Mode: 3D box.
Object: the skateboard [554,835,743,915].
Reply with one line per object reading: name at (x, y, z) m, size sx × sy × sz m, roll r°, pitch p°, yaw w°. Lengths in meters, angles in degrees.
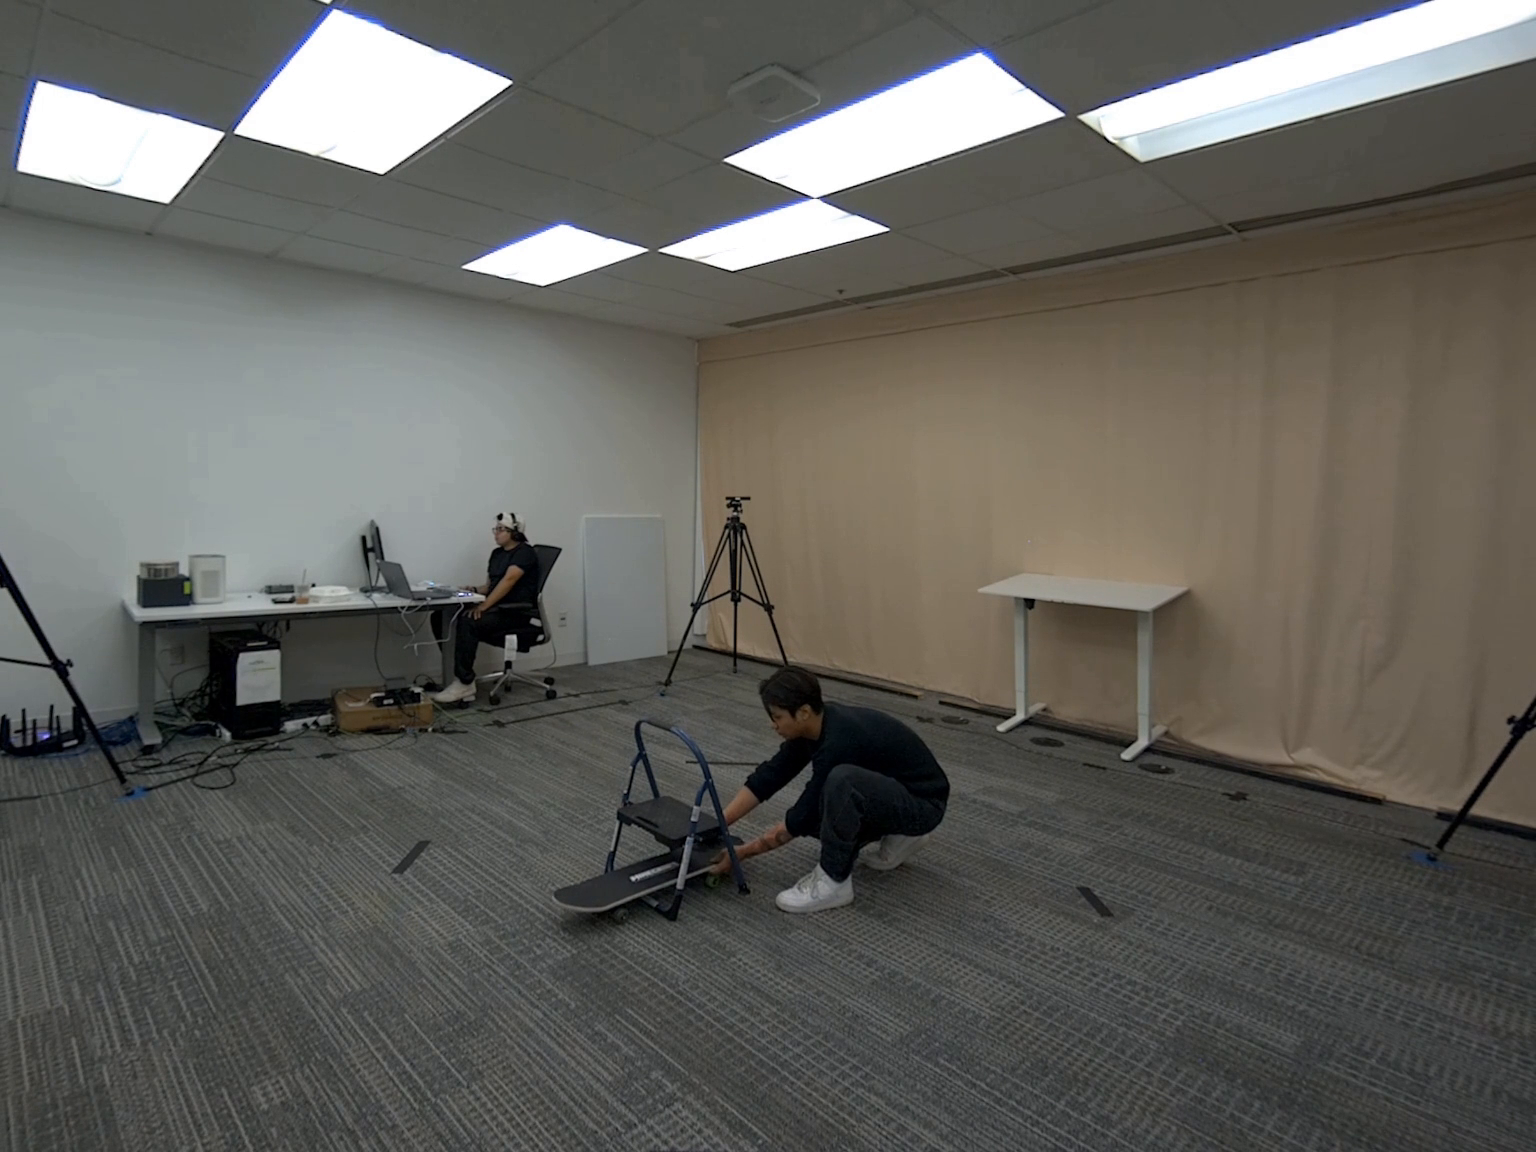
skateboard at (-0.391, 1.054, 2.923) m, size 0.767 × 0.110 × 0.198 m, roll -3°, pitch 6°, yaw -44°
